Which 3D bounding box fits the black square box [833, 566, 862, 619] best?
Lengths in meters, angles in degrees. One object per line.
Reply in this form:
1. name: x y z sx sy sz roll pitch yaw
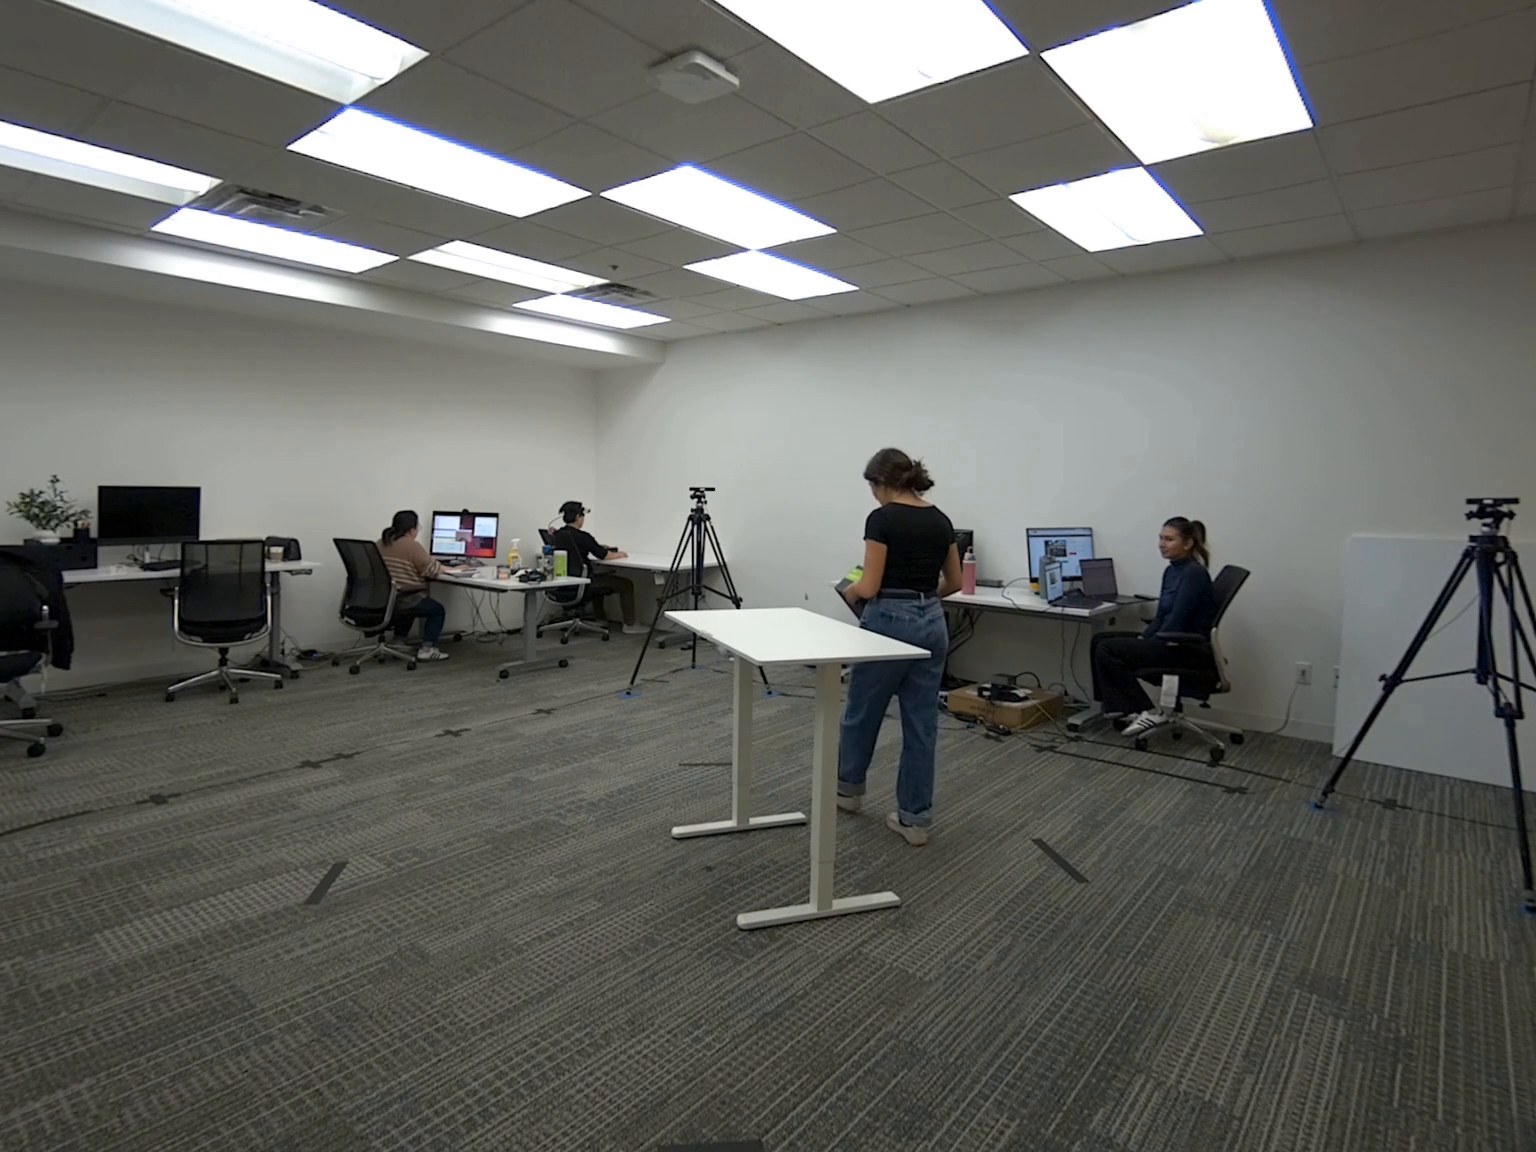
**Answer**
1. black square box: 0.442 0.092 3.751 0.156 0.210 0.235 -43 24 -7
